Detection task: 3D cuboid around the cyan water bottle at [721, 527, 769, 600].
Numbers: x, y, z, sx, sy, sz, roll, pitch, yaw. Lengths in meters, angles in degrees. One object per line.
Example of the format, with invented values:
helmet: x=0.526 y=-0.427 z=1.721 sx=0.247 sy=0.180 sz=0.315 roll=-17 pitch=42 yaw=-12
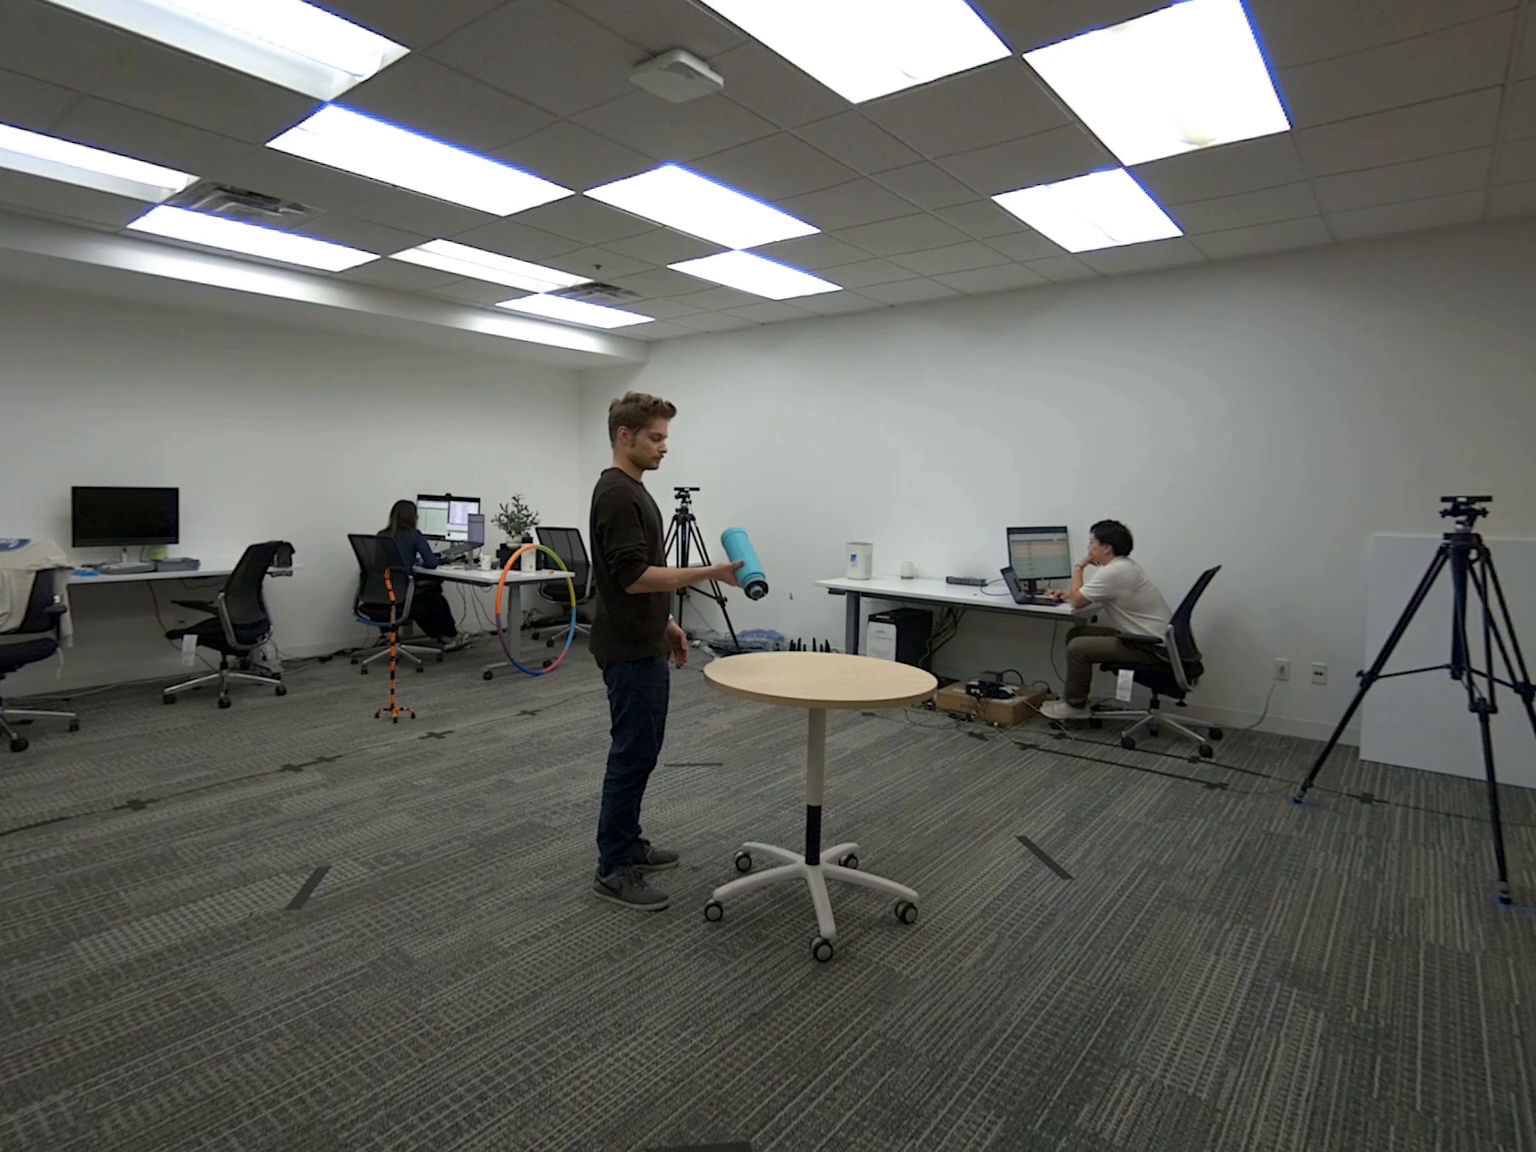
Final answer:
cyan water bottle: x=-0.081 y=-0.043 z=2.790 sx=0.090 sy=0.091 sz=0.295 roll=-1 pitch=44 yaw=-25
